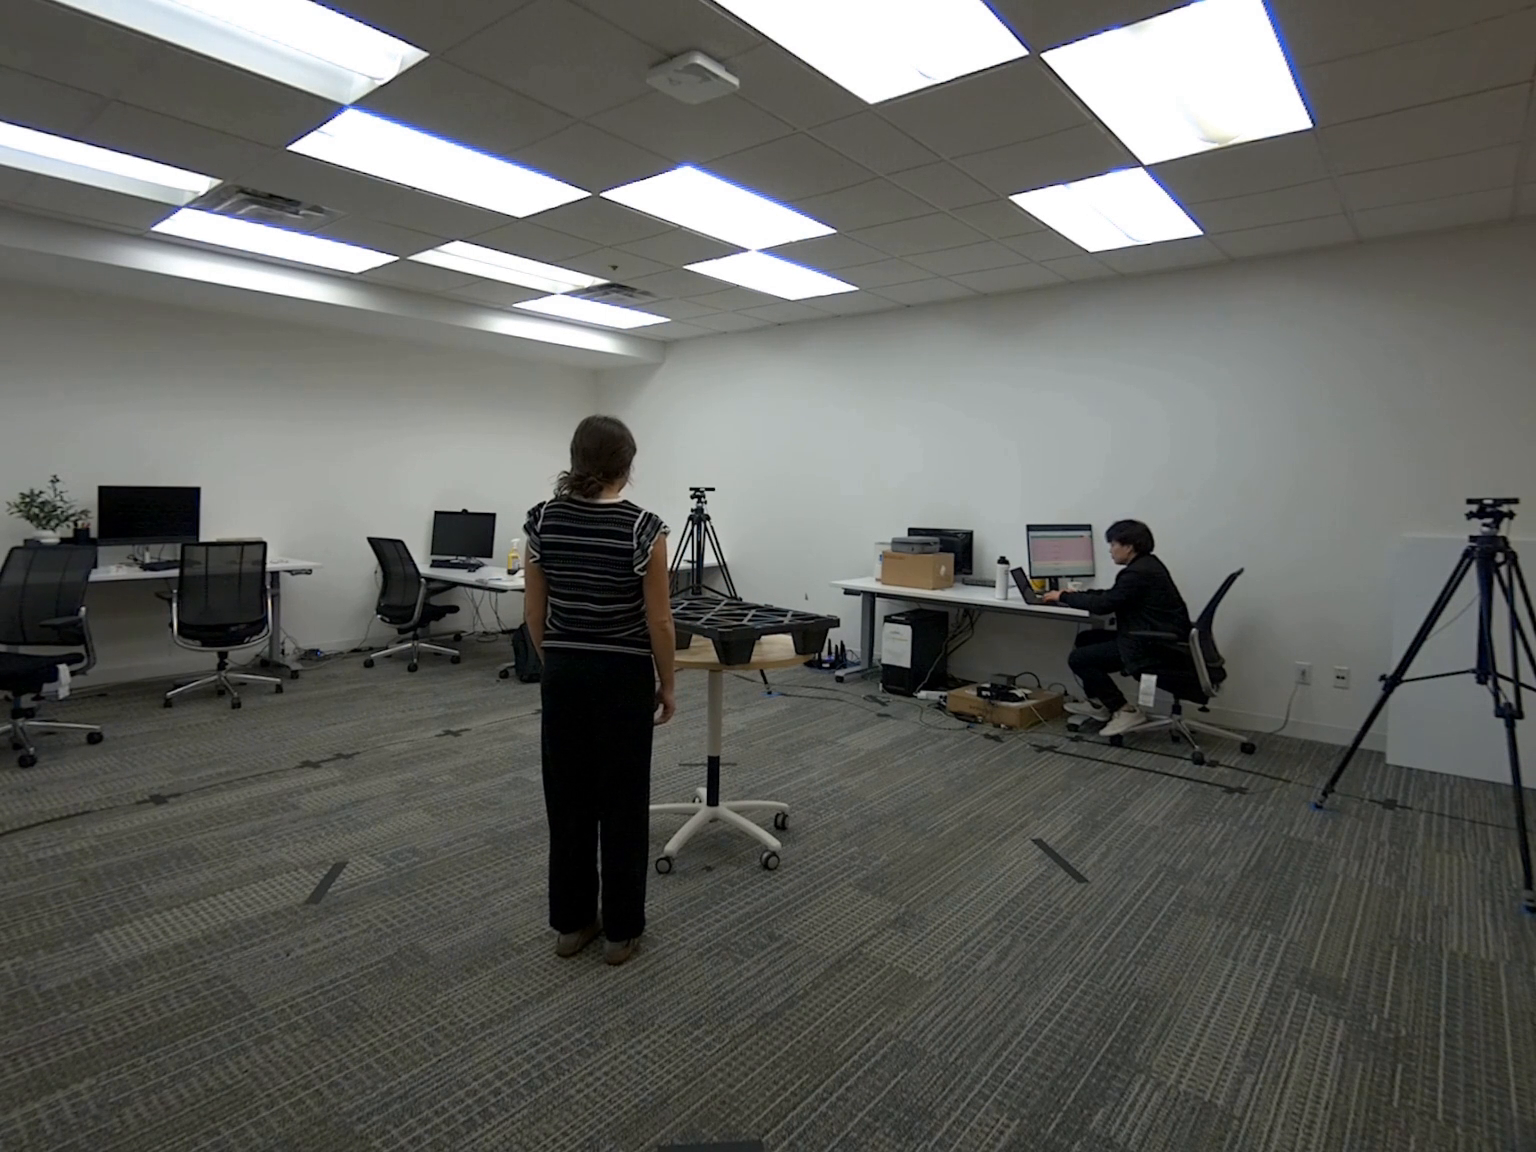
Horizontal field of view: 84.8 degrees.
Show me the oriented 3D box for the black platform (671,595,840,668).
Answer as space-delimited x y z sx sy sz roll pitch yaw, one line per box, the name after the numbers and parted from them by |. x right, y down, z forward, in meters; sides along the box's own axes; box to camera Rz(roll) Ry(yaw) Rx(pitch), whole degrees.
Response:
-0.227 0.199 3.317 0.587 0.143 0.833 -3 7 -42 | black platform
